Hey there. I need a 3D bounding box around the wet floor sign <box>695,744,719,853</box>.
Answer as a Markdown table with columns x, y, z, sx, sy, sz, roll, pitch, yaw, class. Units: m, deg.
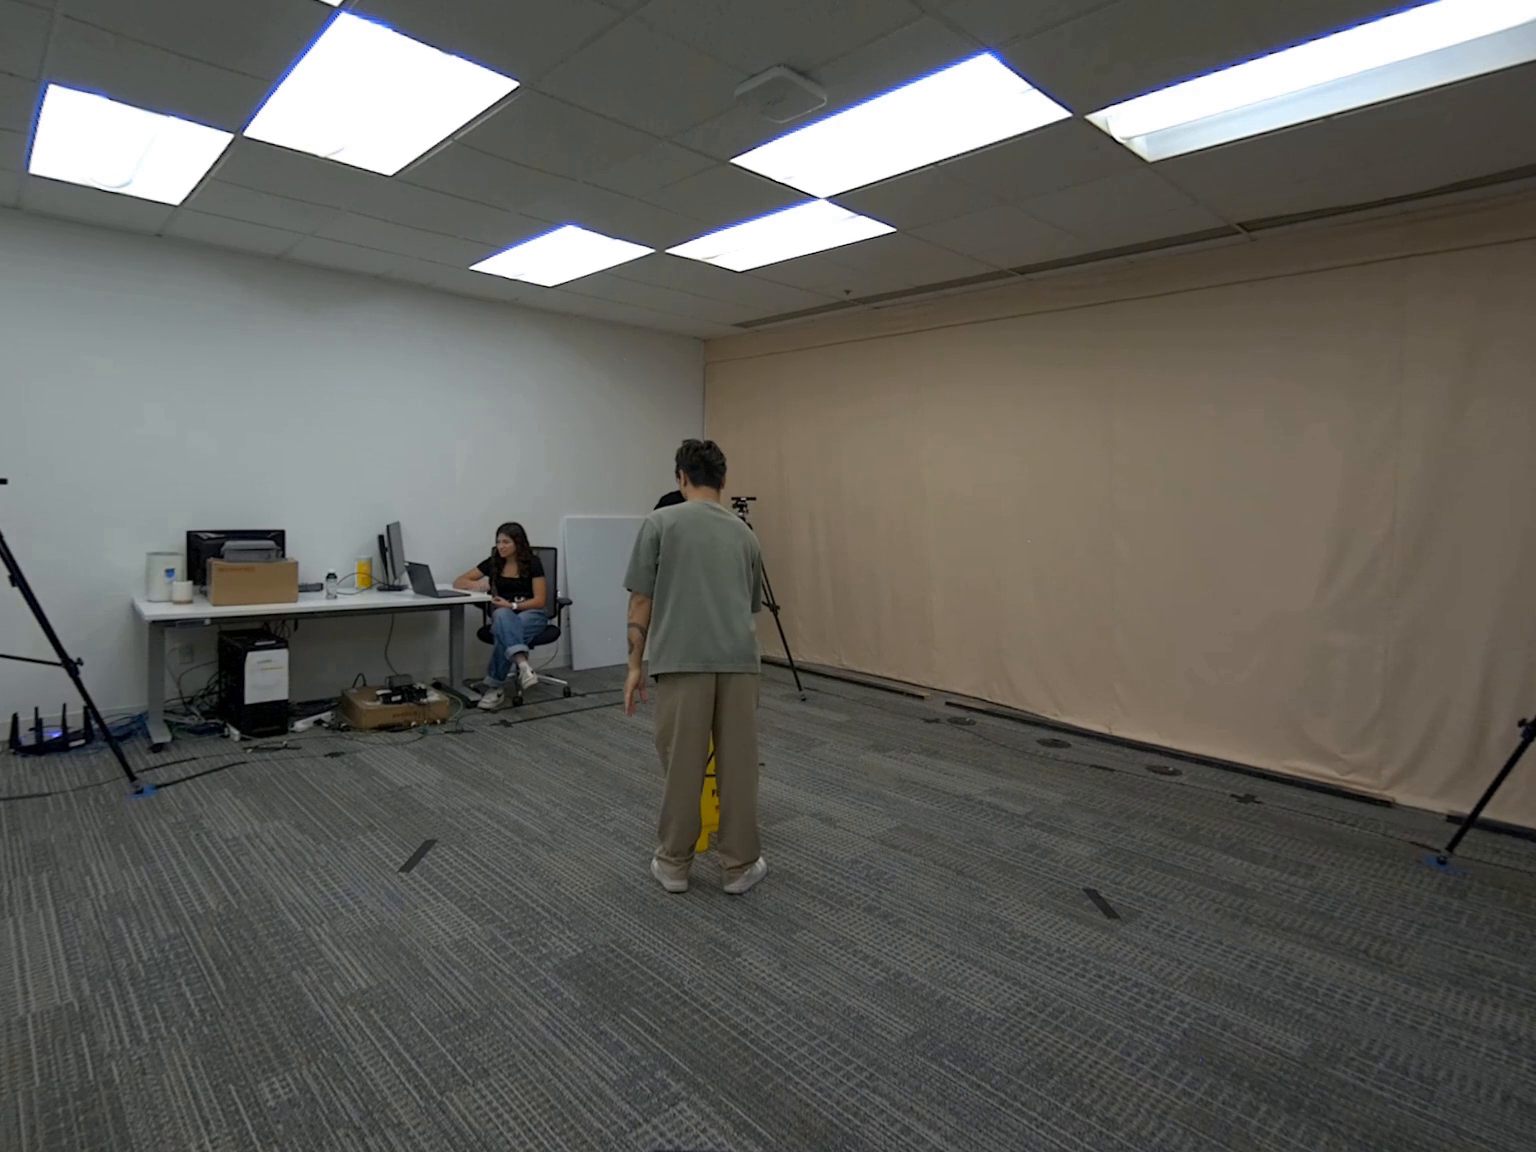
| x | y | z | sx | sy | sz | roll | pitch | yaw | class |
| --- | --- | --- | --- | --- | --- | --- | --- | --- | --- |
| -0.198 | 0.743 | 3.431 | 0.281 | 0.645 | 0.292 | 0 | 3 | -8 | wet floor sign |
